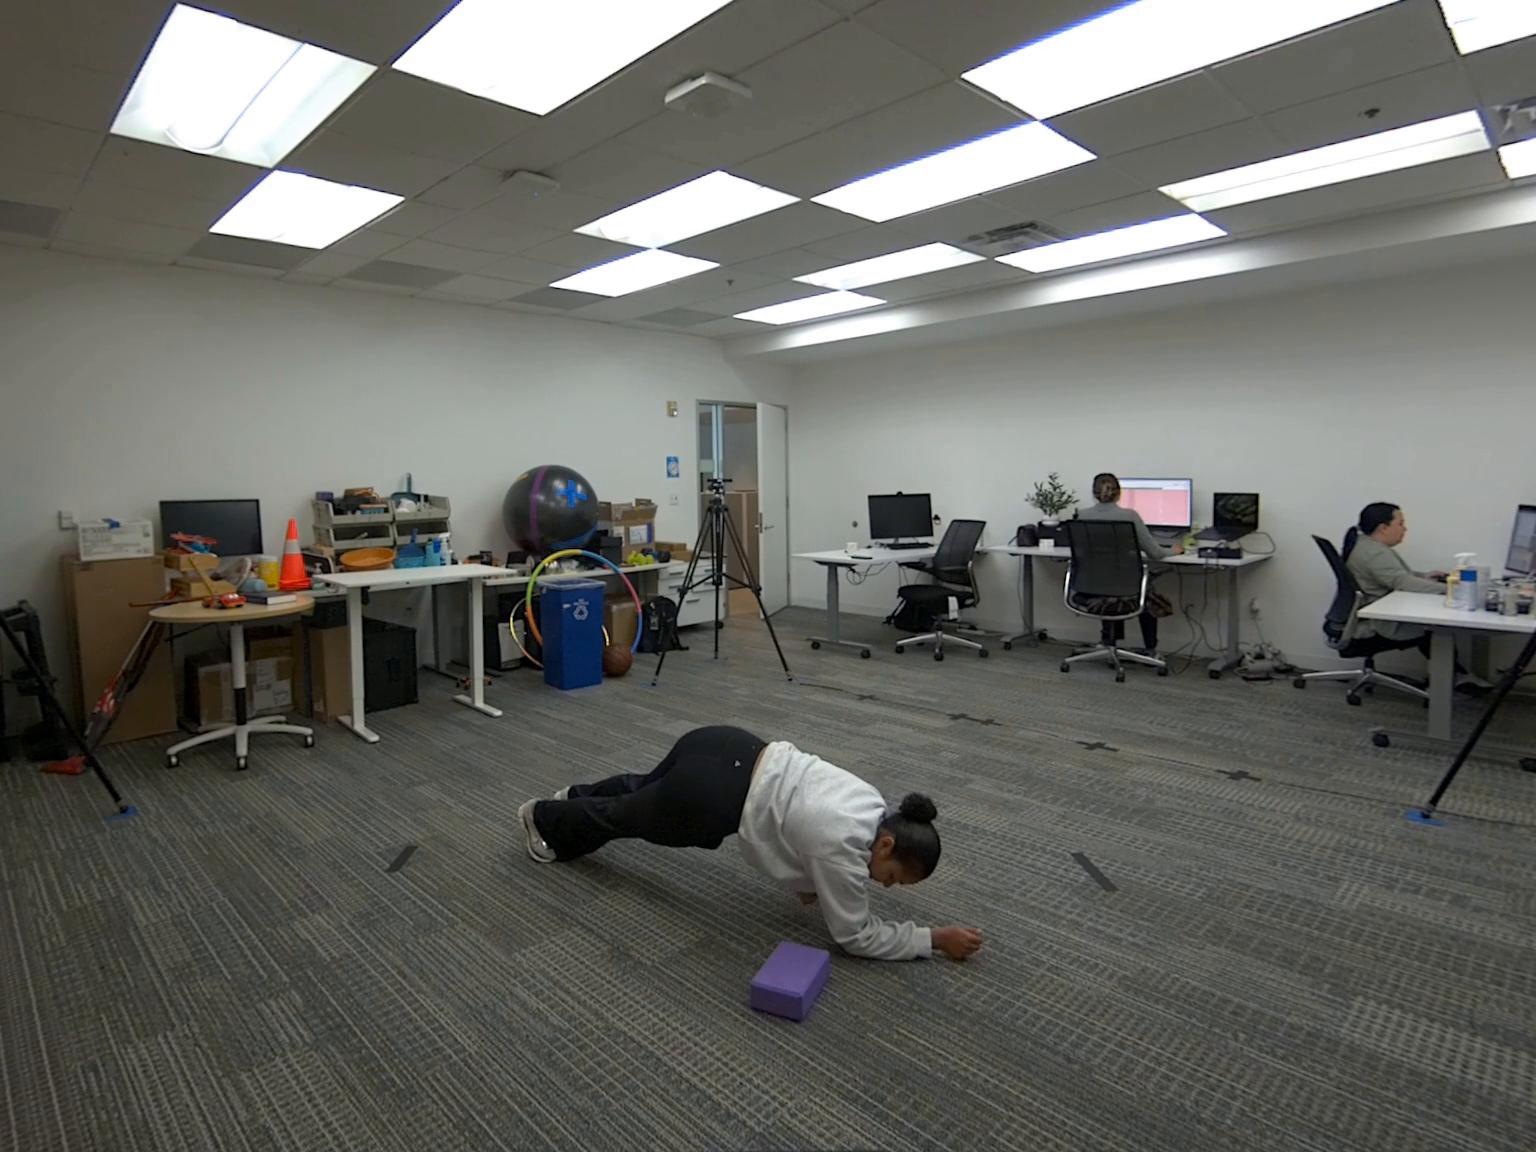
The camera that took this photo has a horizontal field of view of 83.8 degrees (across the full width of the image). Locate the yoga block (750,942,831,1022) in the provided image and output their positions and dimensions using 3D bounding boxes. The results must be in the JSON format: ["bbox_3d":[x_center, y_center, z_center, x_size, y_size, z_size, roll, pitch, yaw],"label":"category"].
[{"bbox_3d":[0.069,1.101,2.317,0.152,0.076,0.225,2,7,24],"label":"yoga block"}]
